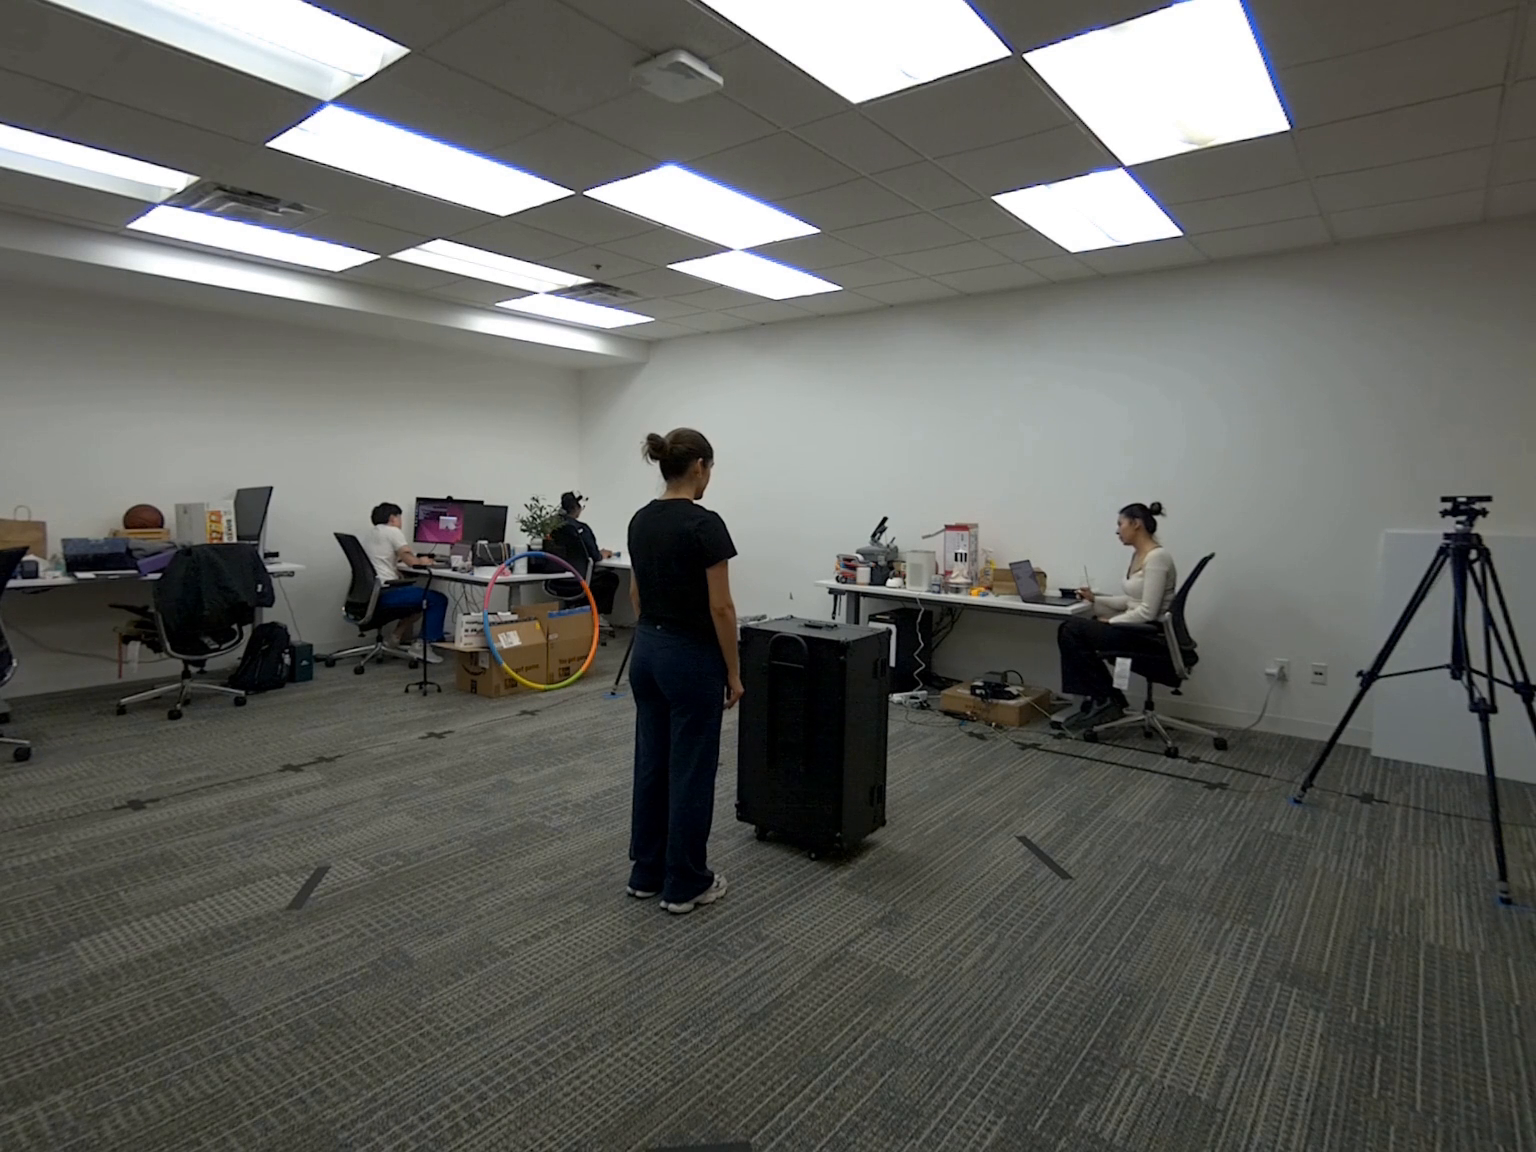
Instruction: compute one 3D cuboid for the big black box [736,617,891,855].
[{"bbox_3d":[0.194,0.620,3.360,0.538,0.858,0.385,4,5,37],"label":"big black box"}]
